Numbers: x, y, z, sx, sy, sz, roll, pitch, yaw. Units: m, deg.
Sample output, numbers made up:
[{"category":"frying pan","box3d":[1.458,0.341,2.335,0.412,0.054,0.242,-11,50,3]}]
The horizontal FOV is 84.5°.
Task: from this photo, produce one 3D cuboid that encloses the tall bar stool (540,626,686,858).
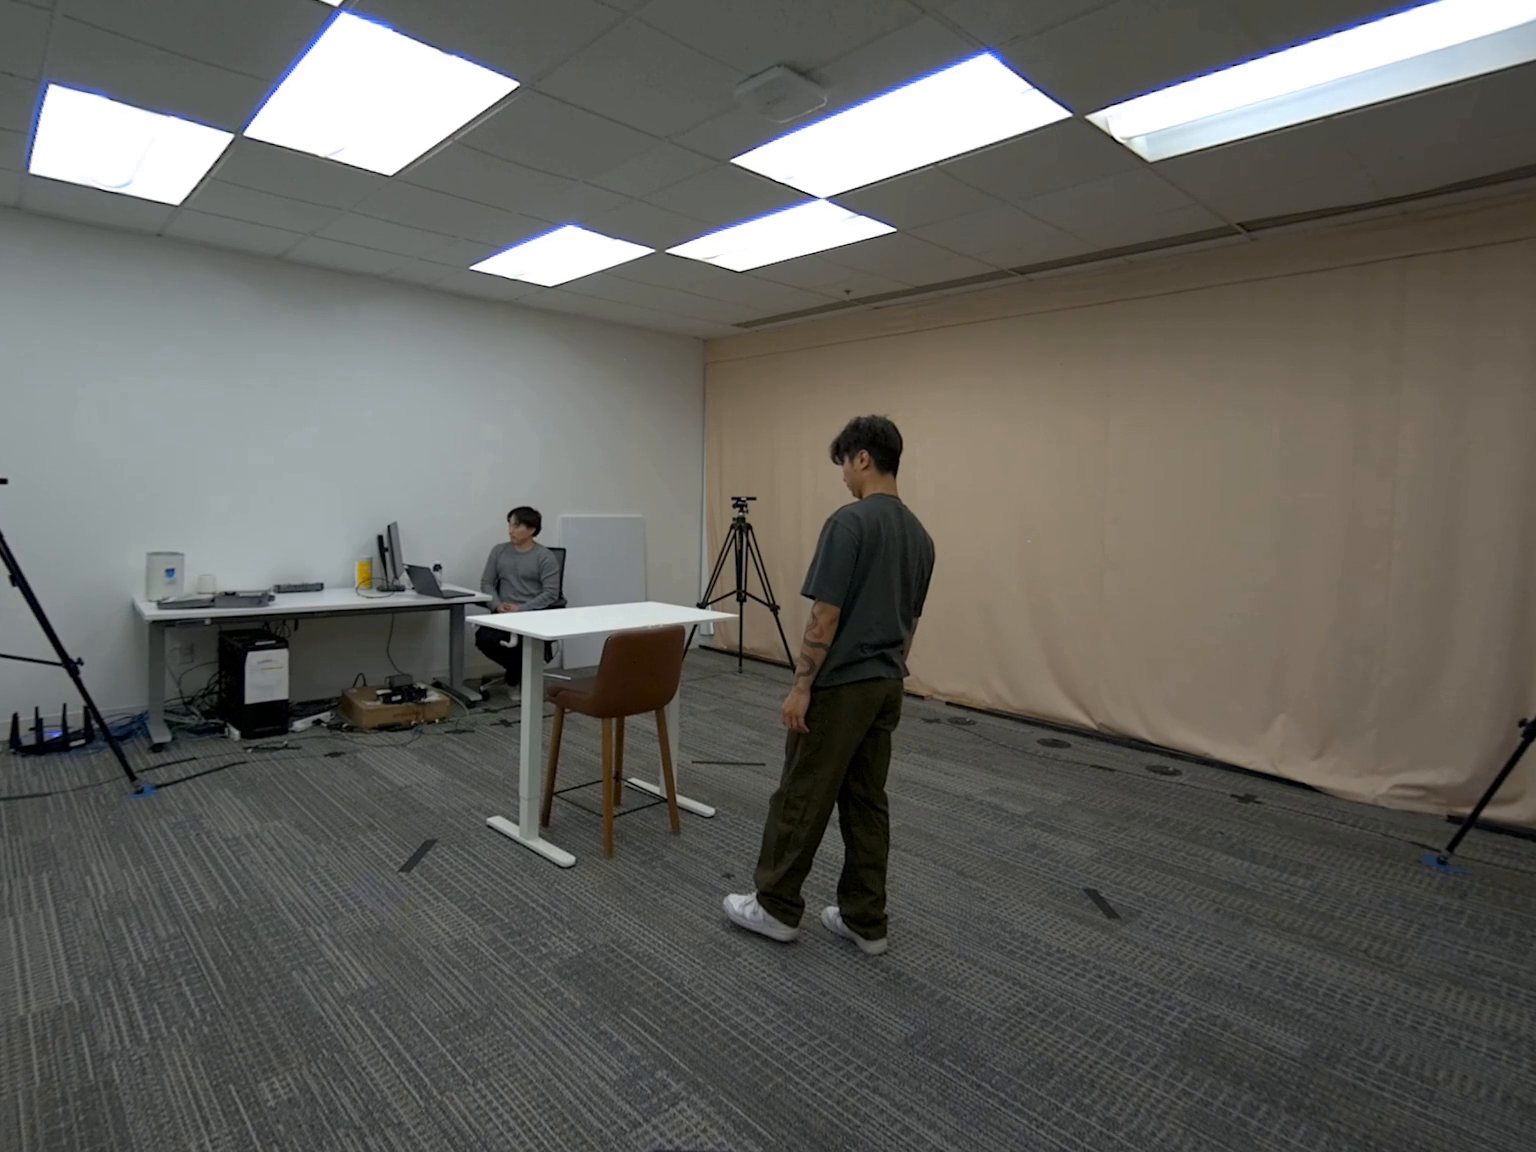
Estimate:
[{"category":"tall bar stool","box3d":[-0.641,0.626,3.485,0.480,0.887,0.446,7,7,43]}]
